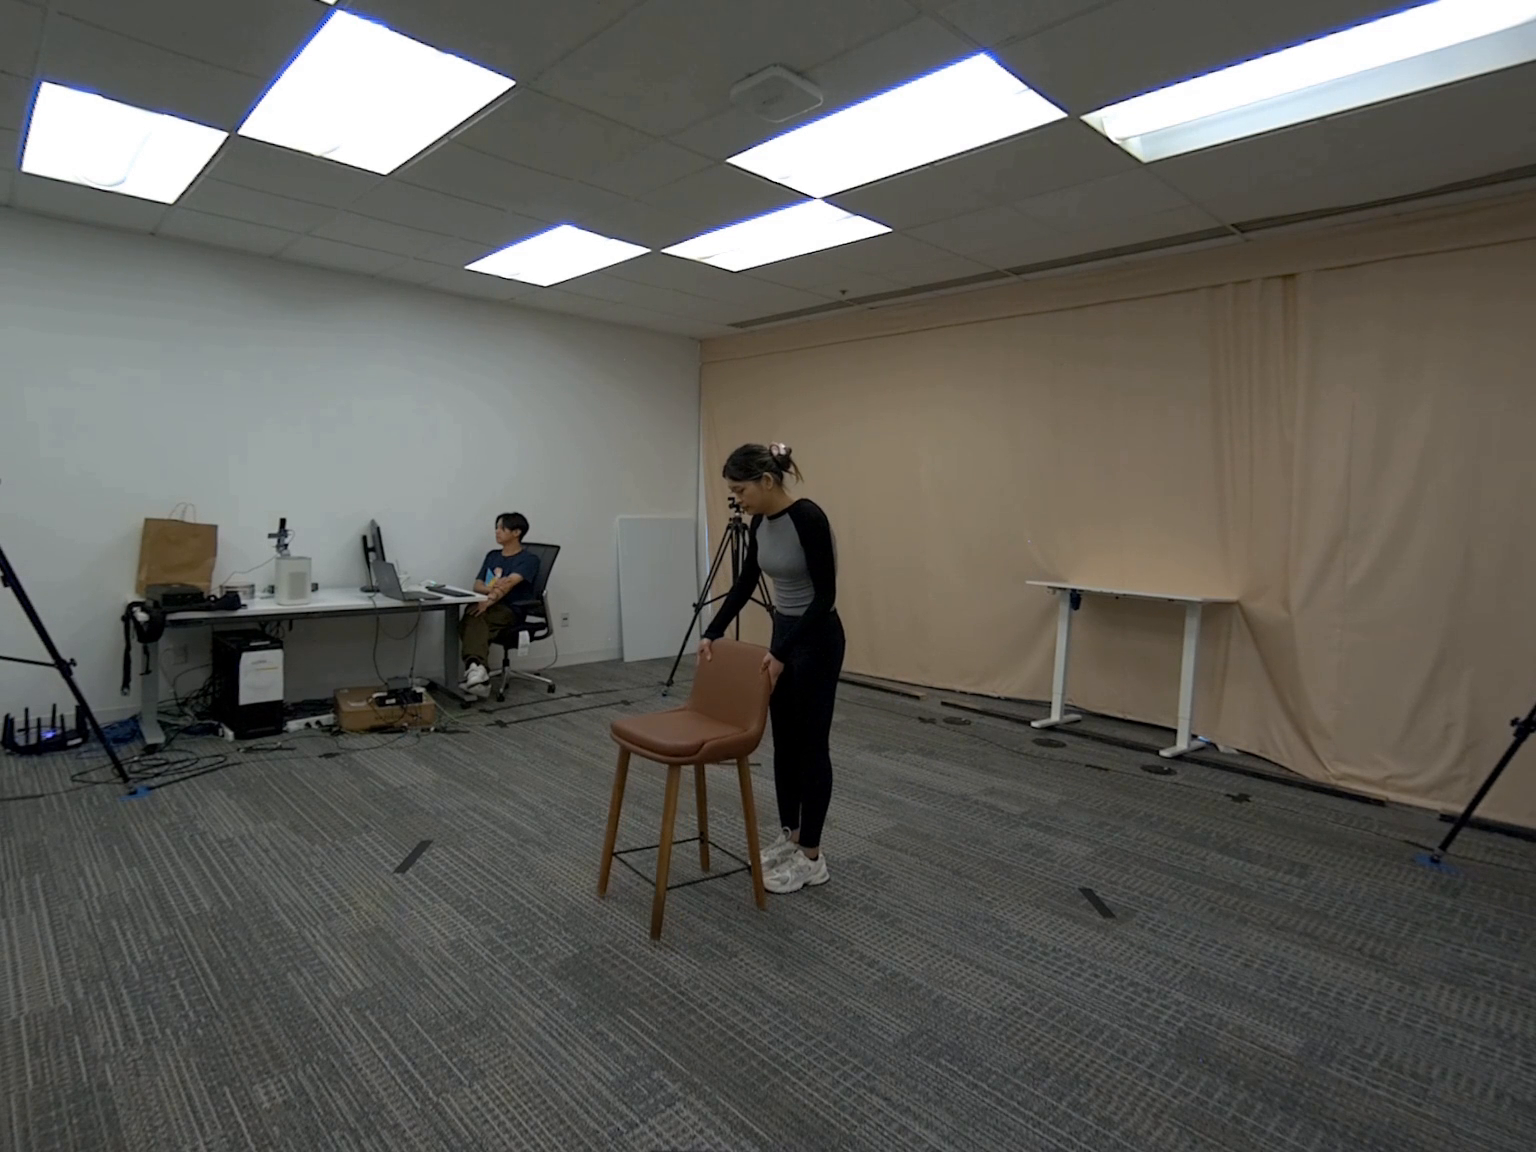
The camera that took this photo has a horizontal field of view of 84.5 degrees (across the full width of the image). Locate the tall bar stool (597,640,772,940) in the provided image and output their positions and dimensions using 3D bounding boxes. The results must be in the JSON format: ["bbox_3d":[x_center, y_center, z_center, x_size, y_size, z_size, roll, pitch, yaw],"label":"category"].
[{"bbox_3d":[-0.279,0.683,2.874,0.456,0.890,0.467,3,0,-36],"label":"tall bar stool"}]
